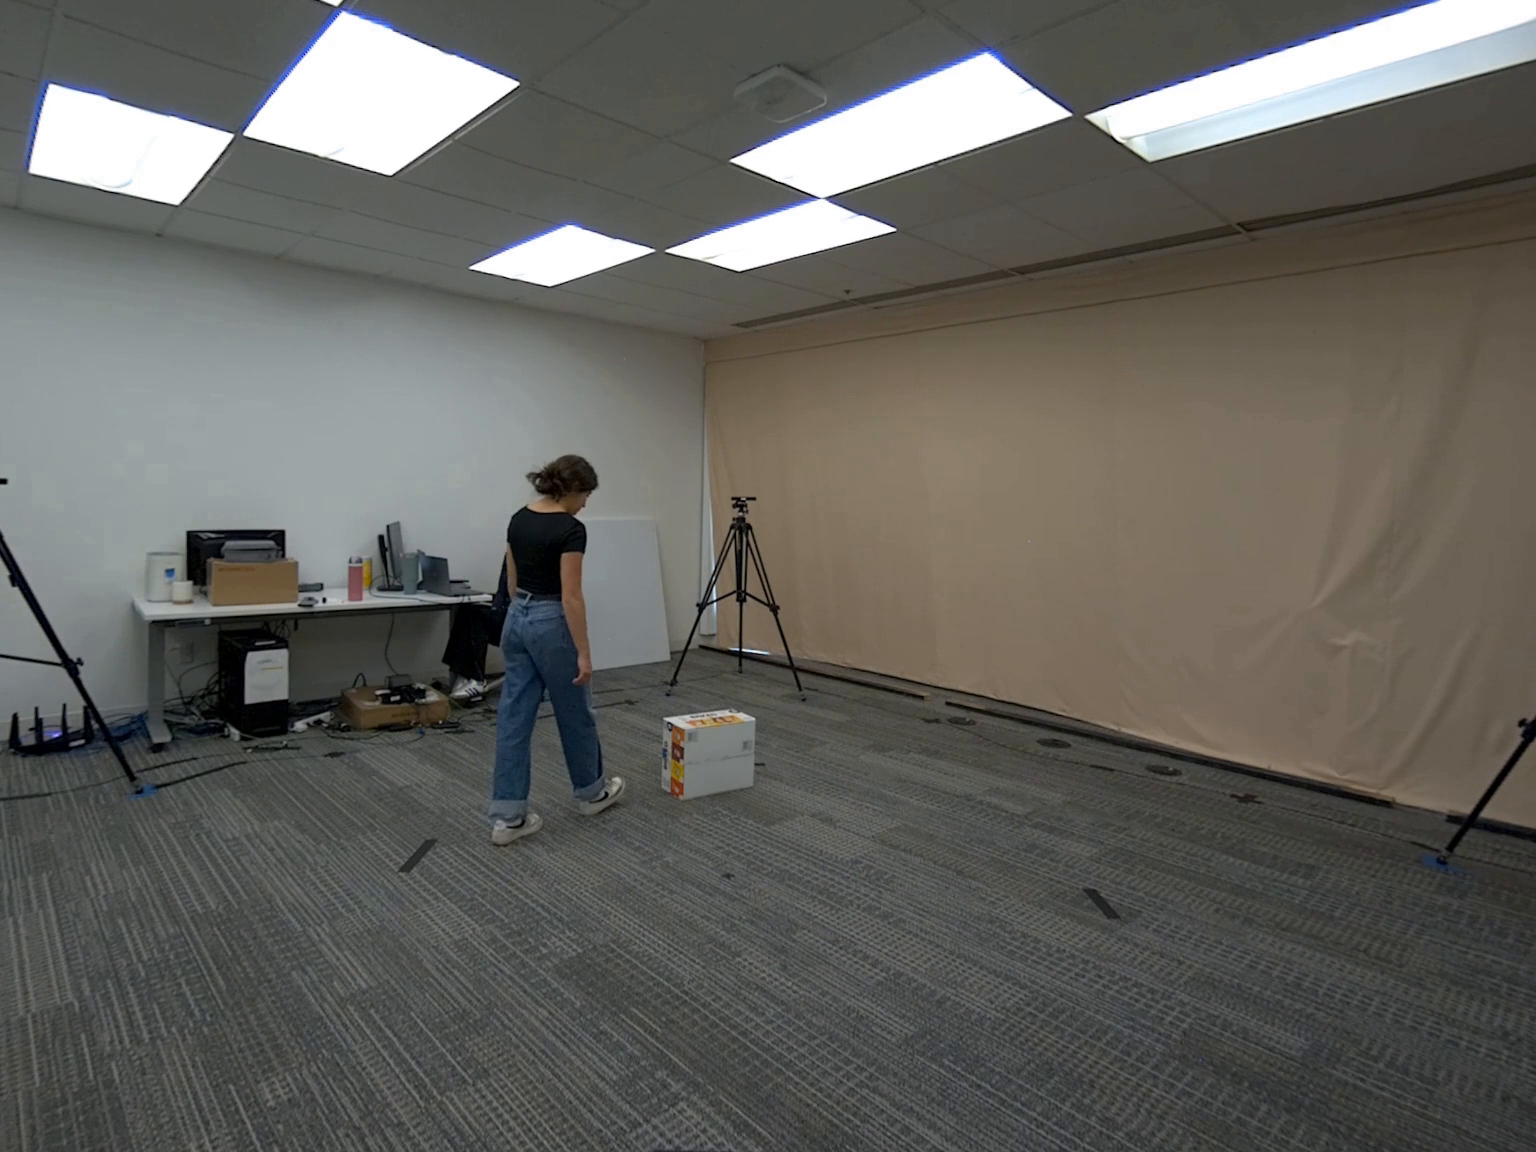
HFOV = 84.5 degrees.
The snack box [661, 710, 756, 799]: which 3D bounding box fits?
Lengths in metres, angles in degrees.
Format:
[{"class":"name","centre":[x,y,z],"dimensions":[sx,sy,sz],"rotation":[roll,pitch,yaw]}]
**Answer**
[{"class":"snack box","centre":[-0.294,0.852,4.053],"dimensions":[0.396,0.339,0.211],"rotation":[-1,6,-35]}]
